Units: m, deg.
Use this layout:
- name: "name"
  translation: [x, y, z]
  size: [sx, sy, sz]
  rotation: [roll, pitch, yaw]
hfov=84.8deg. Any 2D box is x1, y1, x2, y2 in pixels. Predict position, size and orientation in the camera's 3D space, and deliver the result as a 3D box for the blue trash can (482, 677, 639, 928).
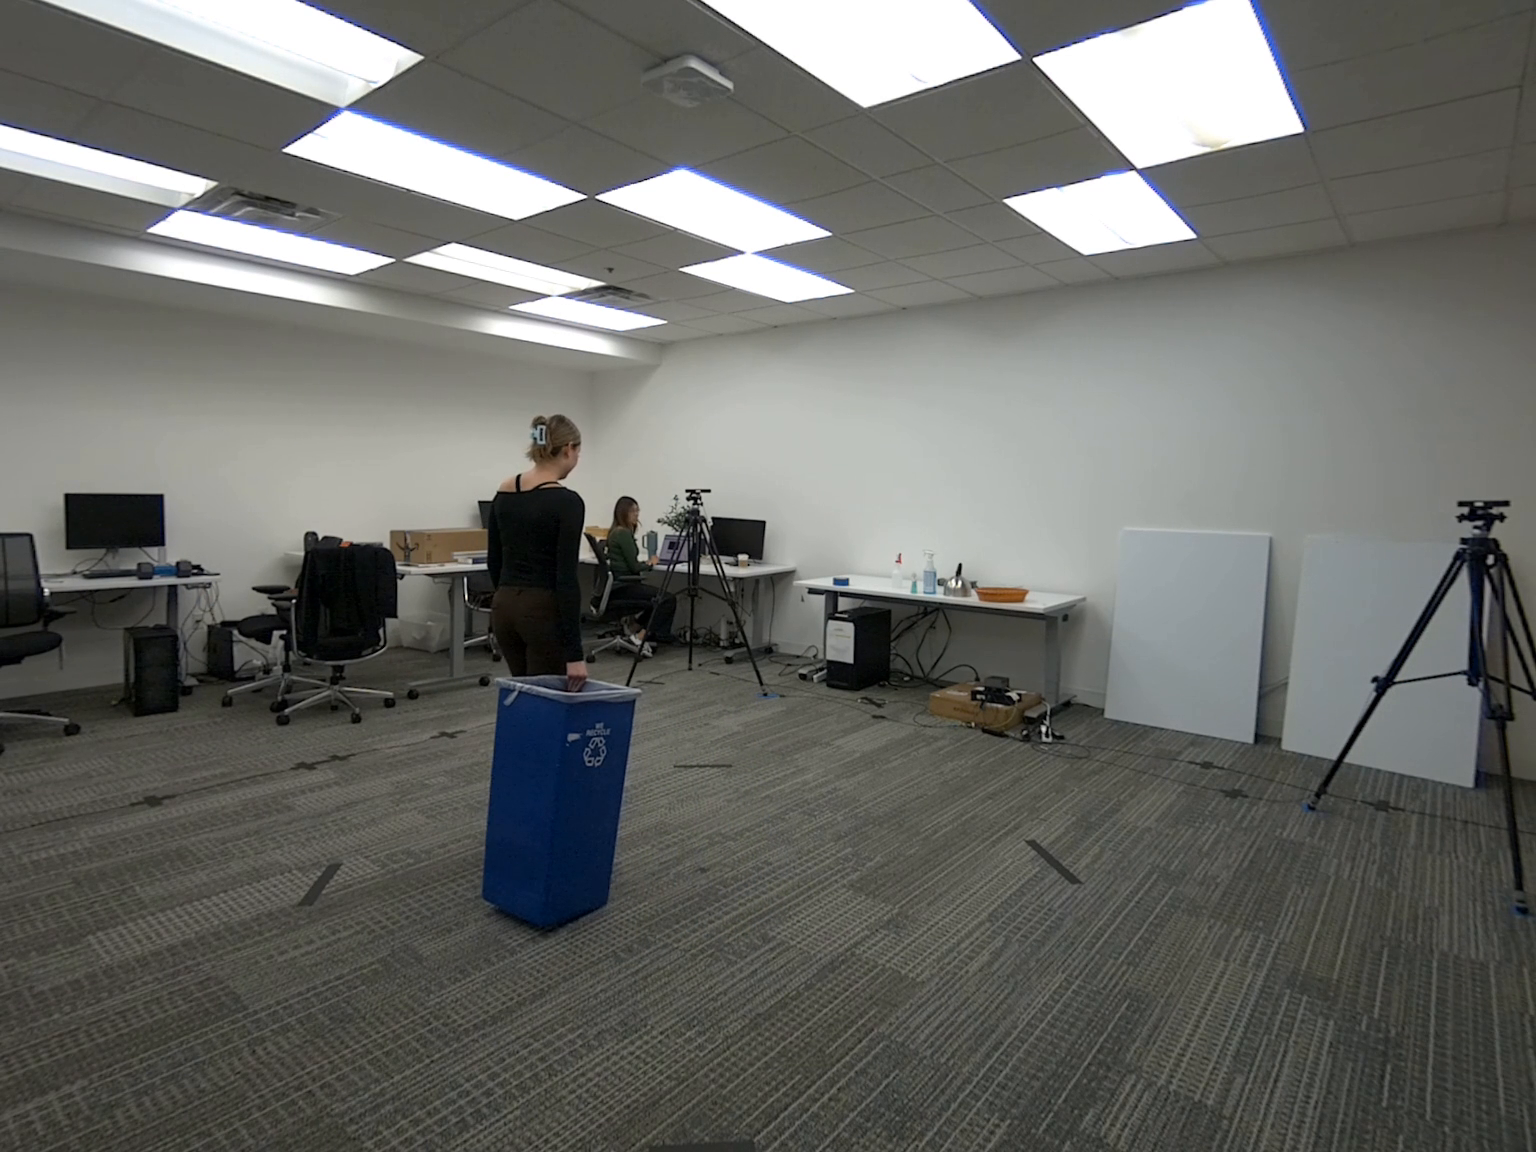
- name: "blue trash can"
  translation: [-0.707, 0.718, 2.842]
  size: [0.390, 0.715, 0.361]
  rotation: [3, -3, 33]
